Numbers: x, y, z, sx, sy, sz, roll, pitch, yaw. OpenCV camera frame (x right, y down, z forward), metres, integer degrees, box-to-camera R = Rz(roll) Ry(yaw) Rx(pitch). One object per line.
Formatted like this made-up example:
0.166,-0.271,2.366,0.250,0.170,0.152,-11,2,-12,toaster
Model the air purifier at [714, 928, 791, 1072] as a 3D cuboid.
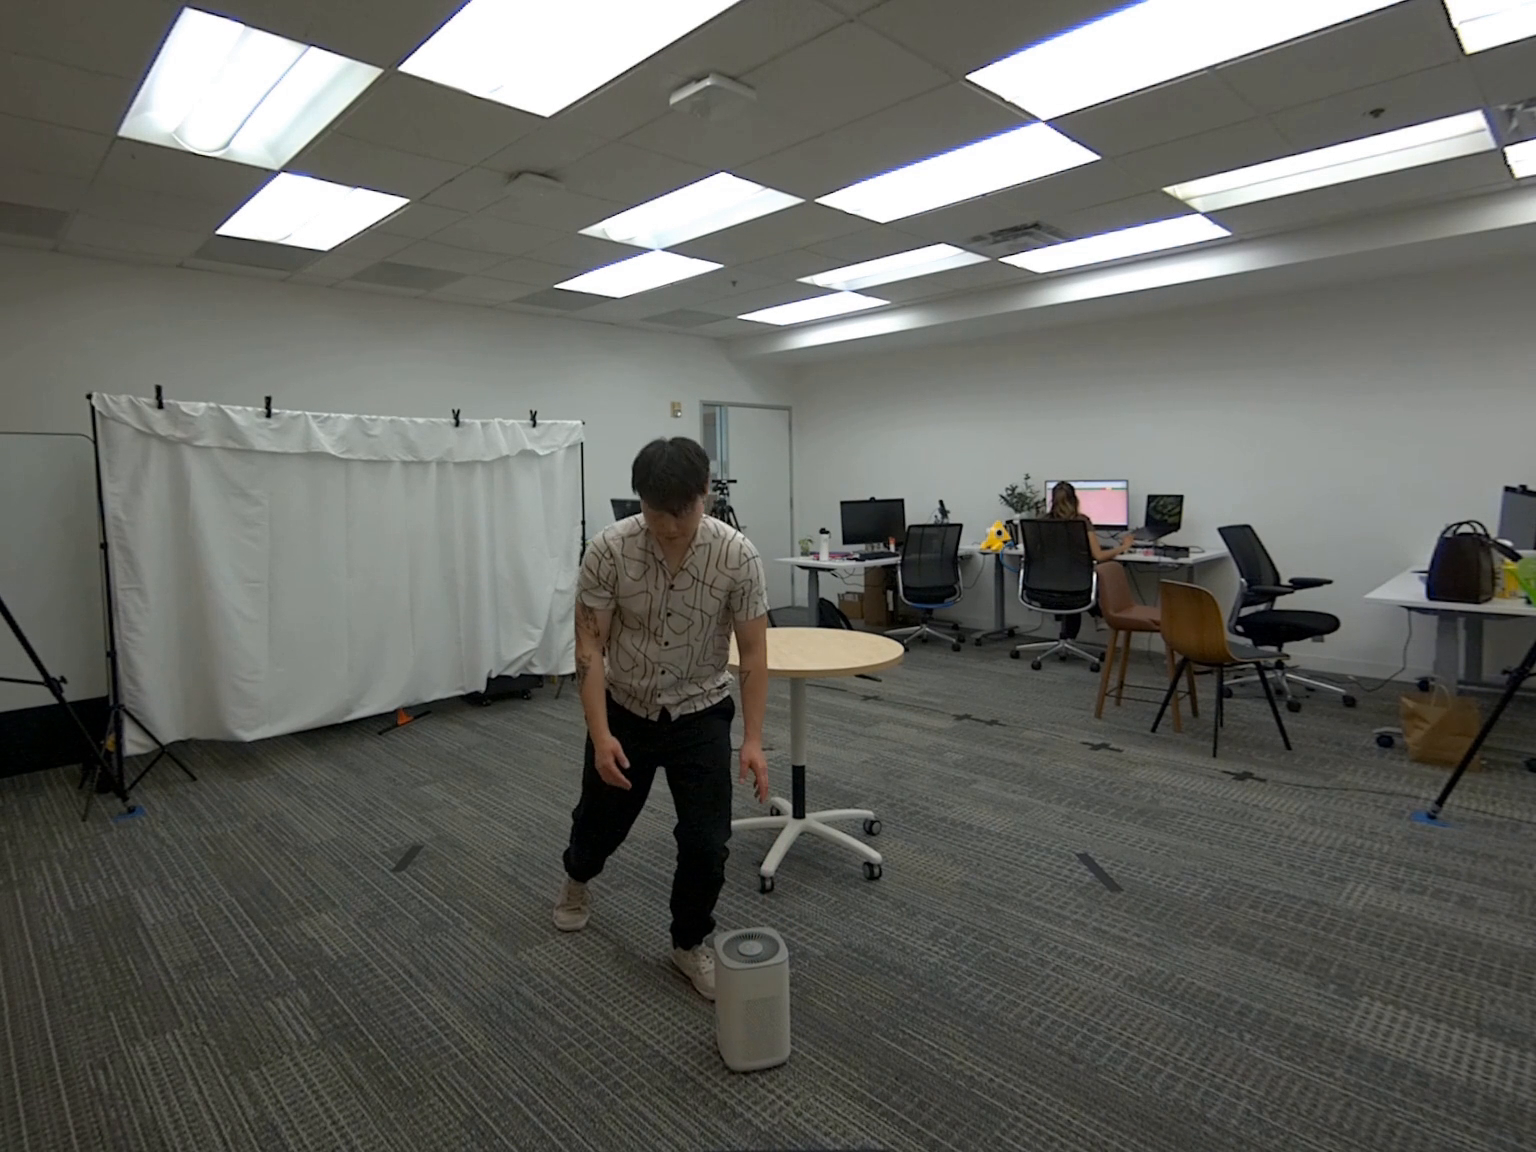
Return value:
-0.032,1.038,2.085,0.169,0.264,0.174,-2,5,-17,air purifier
